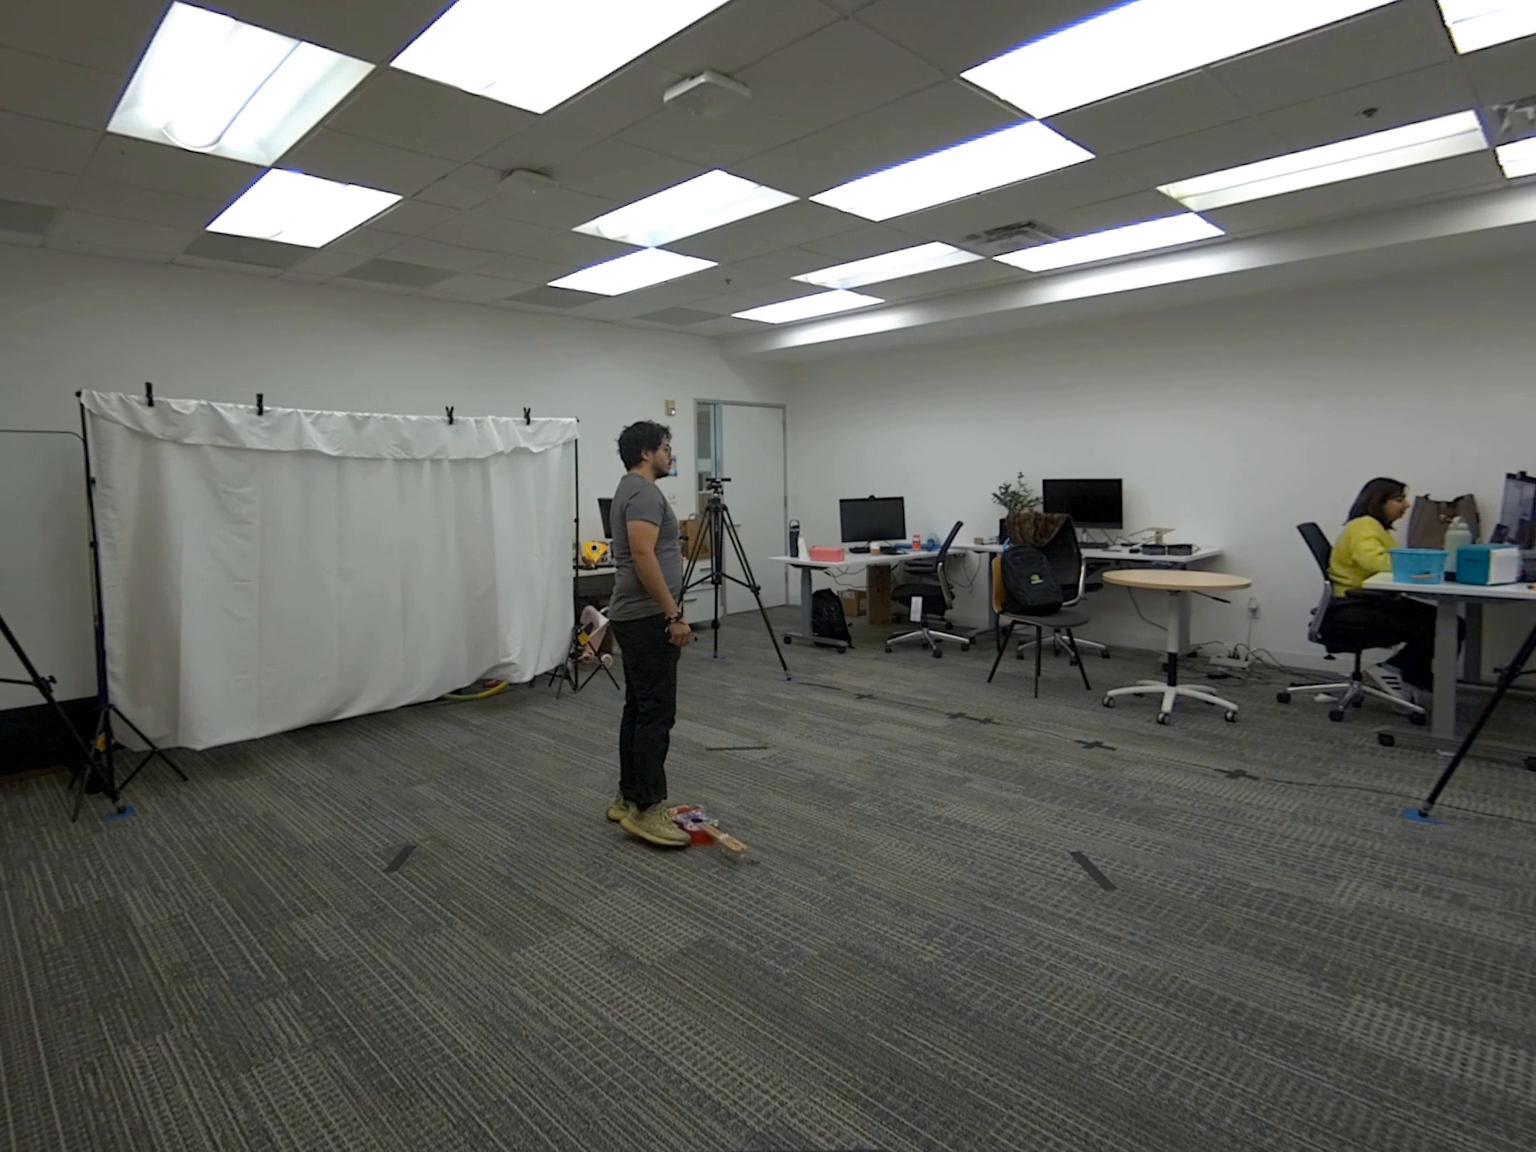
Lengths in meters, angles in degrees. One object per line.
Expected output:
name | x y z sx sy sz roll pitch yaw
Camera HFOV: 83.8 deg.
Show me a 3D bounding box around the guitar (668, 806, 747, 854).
guitar | -0.259 0.991 3.277 0.189 0.070 0.510 -2 6 -25
